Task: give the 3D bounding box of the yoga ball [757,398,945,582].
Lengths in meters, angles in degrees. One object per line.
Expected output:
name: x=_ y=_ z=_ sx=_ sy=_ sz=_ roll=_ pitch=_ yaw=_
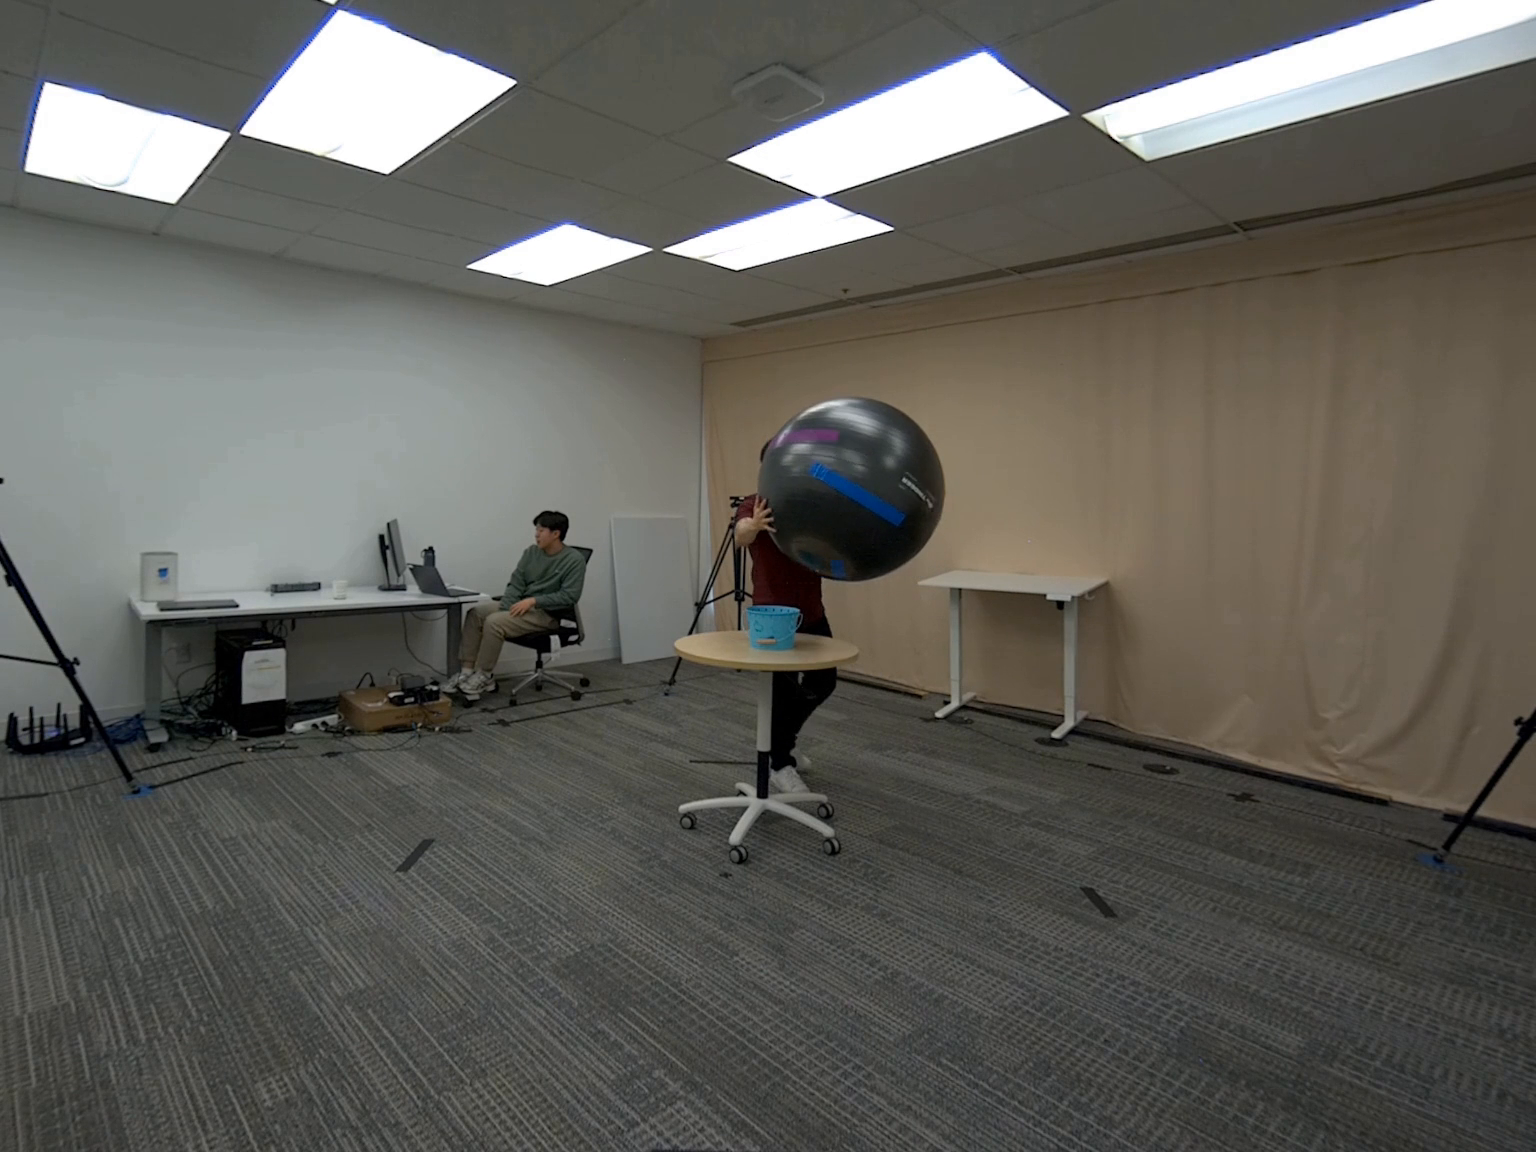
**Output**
yoga ball: x=0.341 y=-0.351 z=3.480 sx=0.757 sy=0.756 sz=0.761 roll=1 pitch=4 yaw=-1
